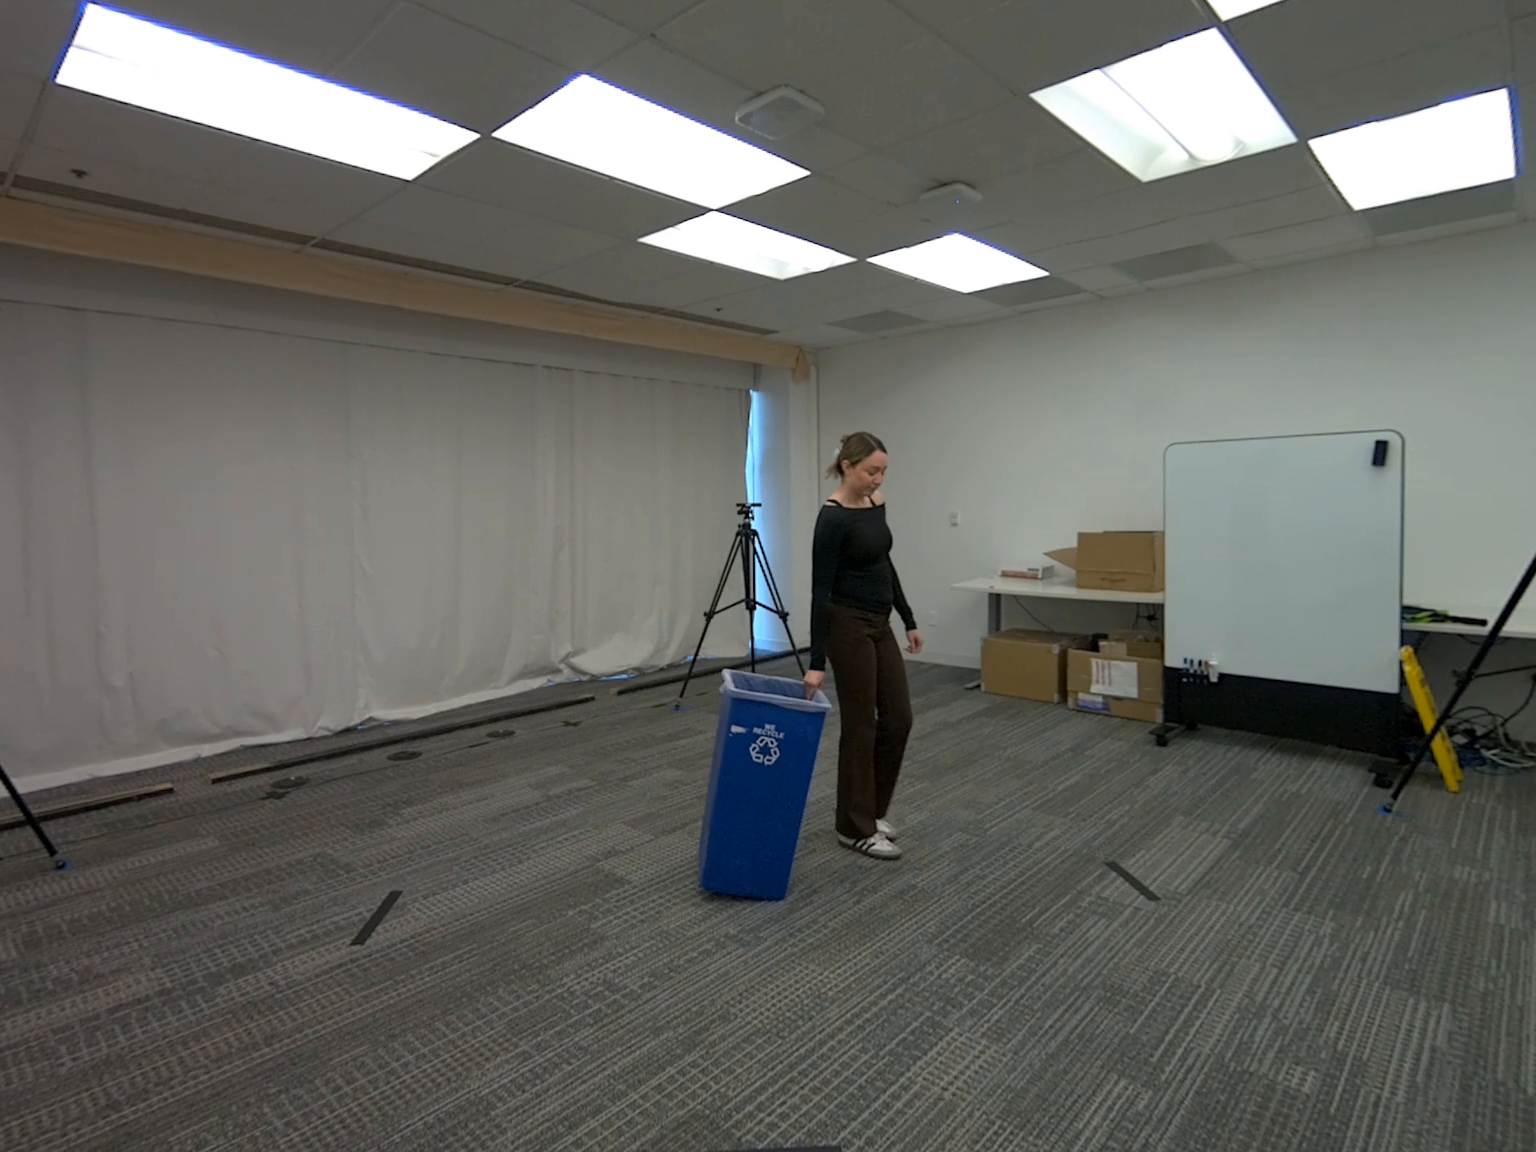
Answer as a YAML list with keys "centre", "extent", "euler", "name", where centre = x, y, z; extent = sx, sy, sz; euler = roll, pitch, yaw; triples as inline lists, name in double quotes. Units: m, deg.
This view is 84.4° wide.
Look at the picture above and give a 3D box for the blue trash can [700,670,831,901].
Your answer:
- centre: [-0.028, 0.752, 3.067]
  extent: [0.372, 0.712, 0.381]
  euler: [10, 3, -5]
  name: "blue trash can"
